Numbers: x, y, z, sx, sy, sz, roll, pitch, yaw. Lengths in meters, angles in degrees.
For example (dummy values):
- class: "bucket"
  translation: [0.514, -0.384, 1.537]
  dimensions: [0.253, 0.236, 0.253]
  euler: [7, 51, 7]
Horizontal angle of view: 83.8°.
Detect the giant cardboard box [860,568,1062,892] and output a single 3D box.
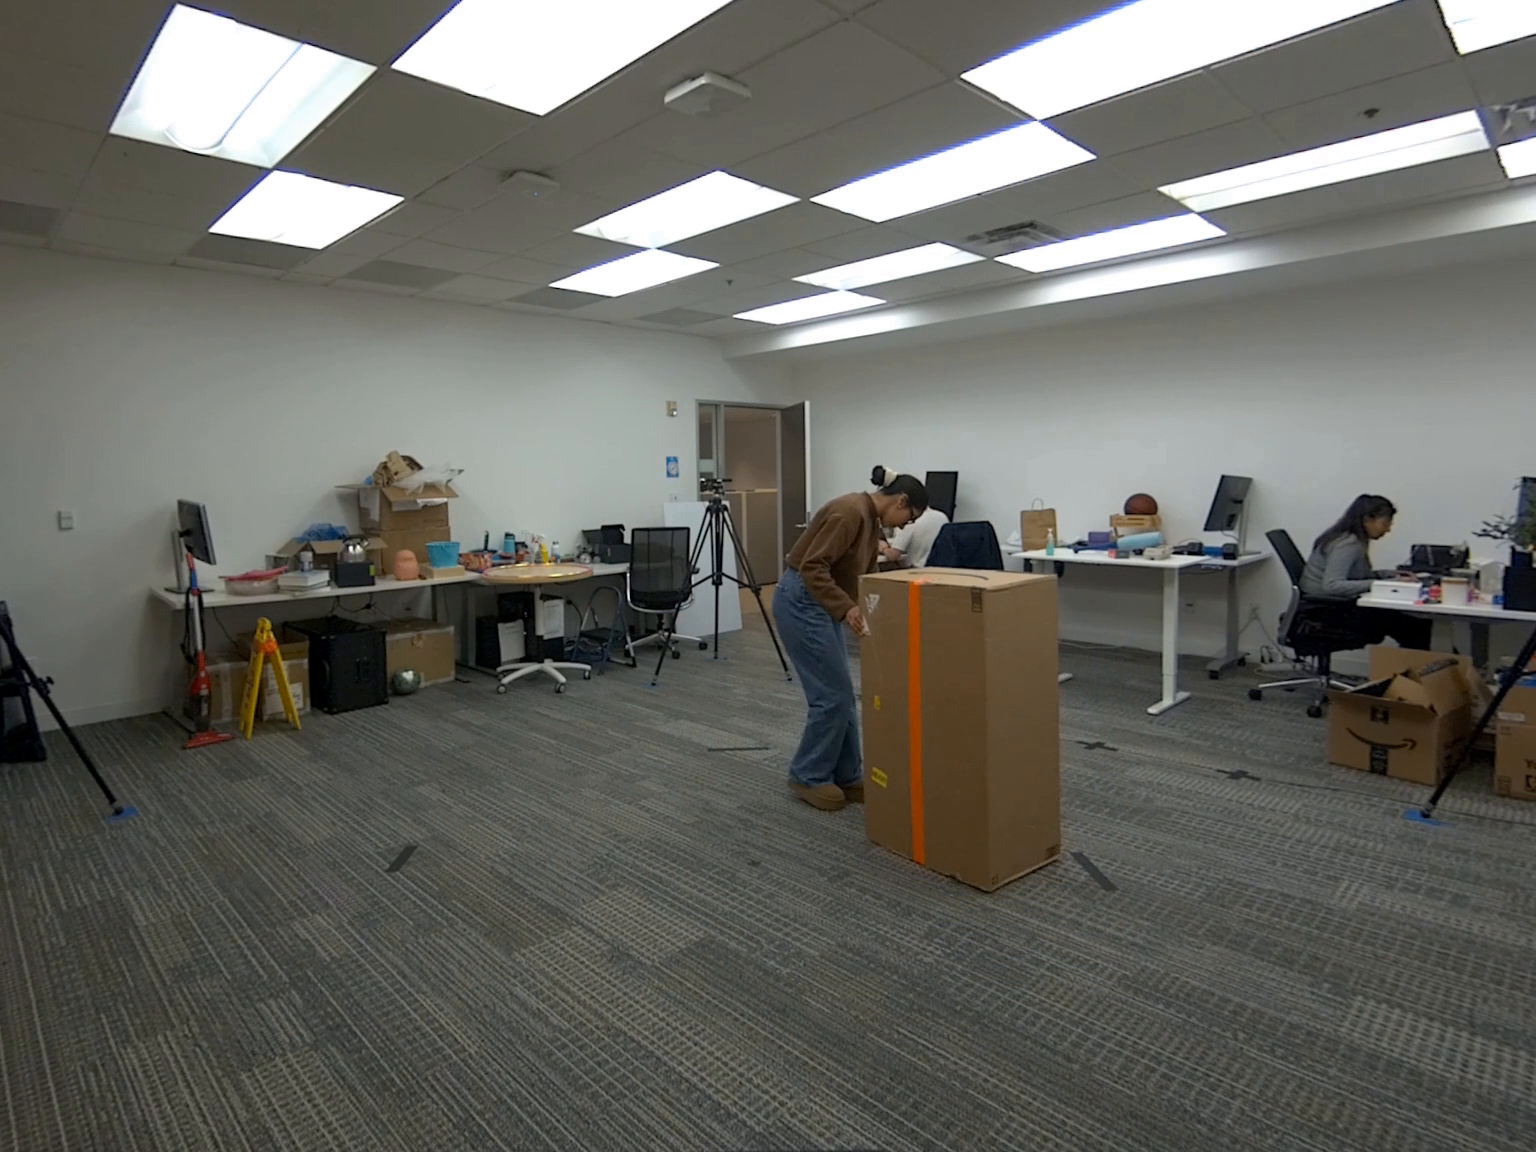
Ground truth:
- class: "giant cardboard box"
  translation: [0.705, 0.514, 3.158]
  dimensions: [0.415, 1.022, 0.594]
  euler: [-5, 5, -37]
